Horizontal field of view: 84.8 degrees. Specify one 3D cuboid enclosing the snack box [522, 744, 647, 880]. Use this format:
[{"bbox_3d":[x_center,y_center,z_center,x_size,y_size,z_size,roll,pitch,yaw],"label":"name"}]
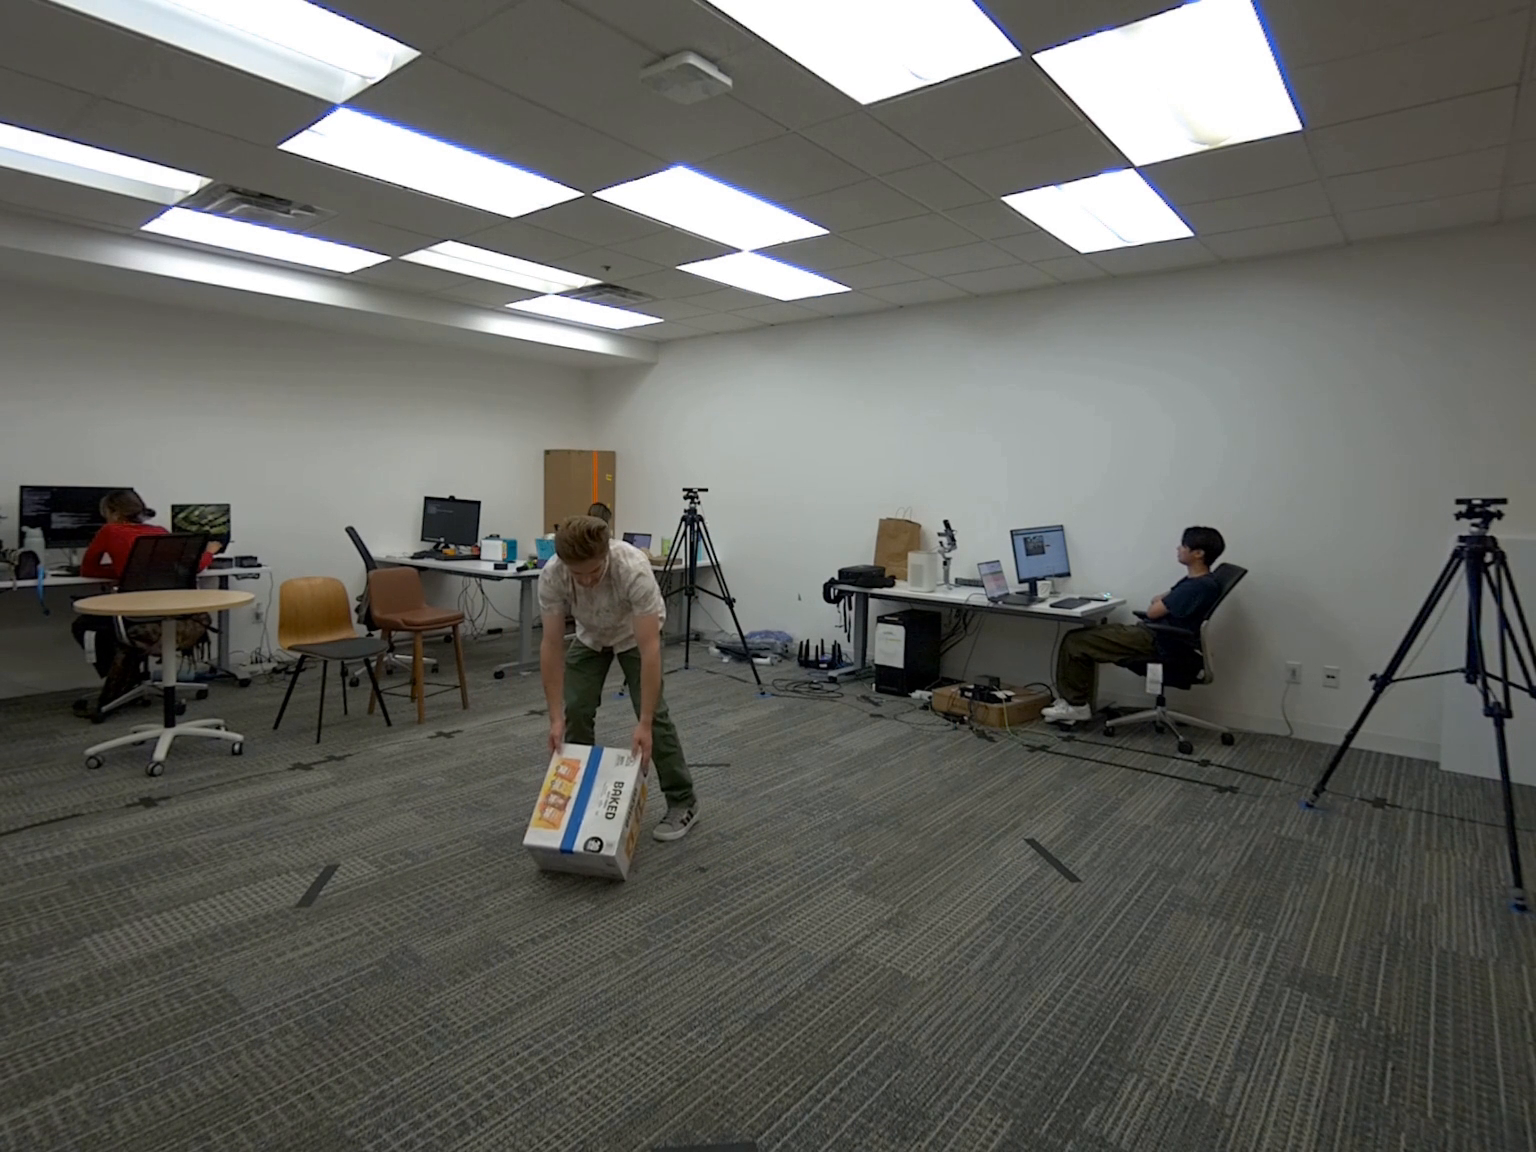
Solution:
[{"bbox_3d":[-0.660,0.853,3.110,0.345,0.413,0.198,1,-42,12],"label":"snack box"}]
